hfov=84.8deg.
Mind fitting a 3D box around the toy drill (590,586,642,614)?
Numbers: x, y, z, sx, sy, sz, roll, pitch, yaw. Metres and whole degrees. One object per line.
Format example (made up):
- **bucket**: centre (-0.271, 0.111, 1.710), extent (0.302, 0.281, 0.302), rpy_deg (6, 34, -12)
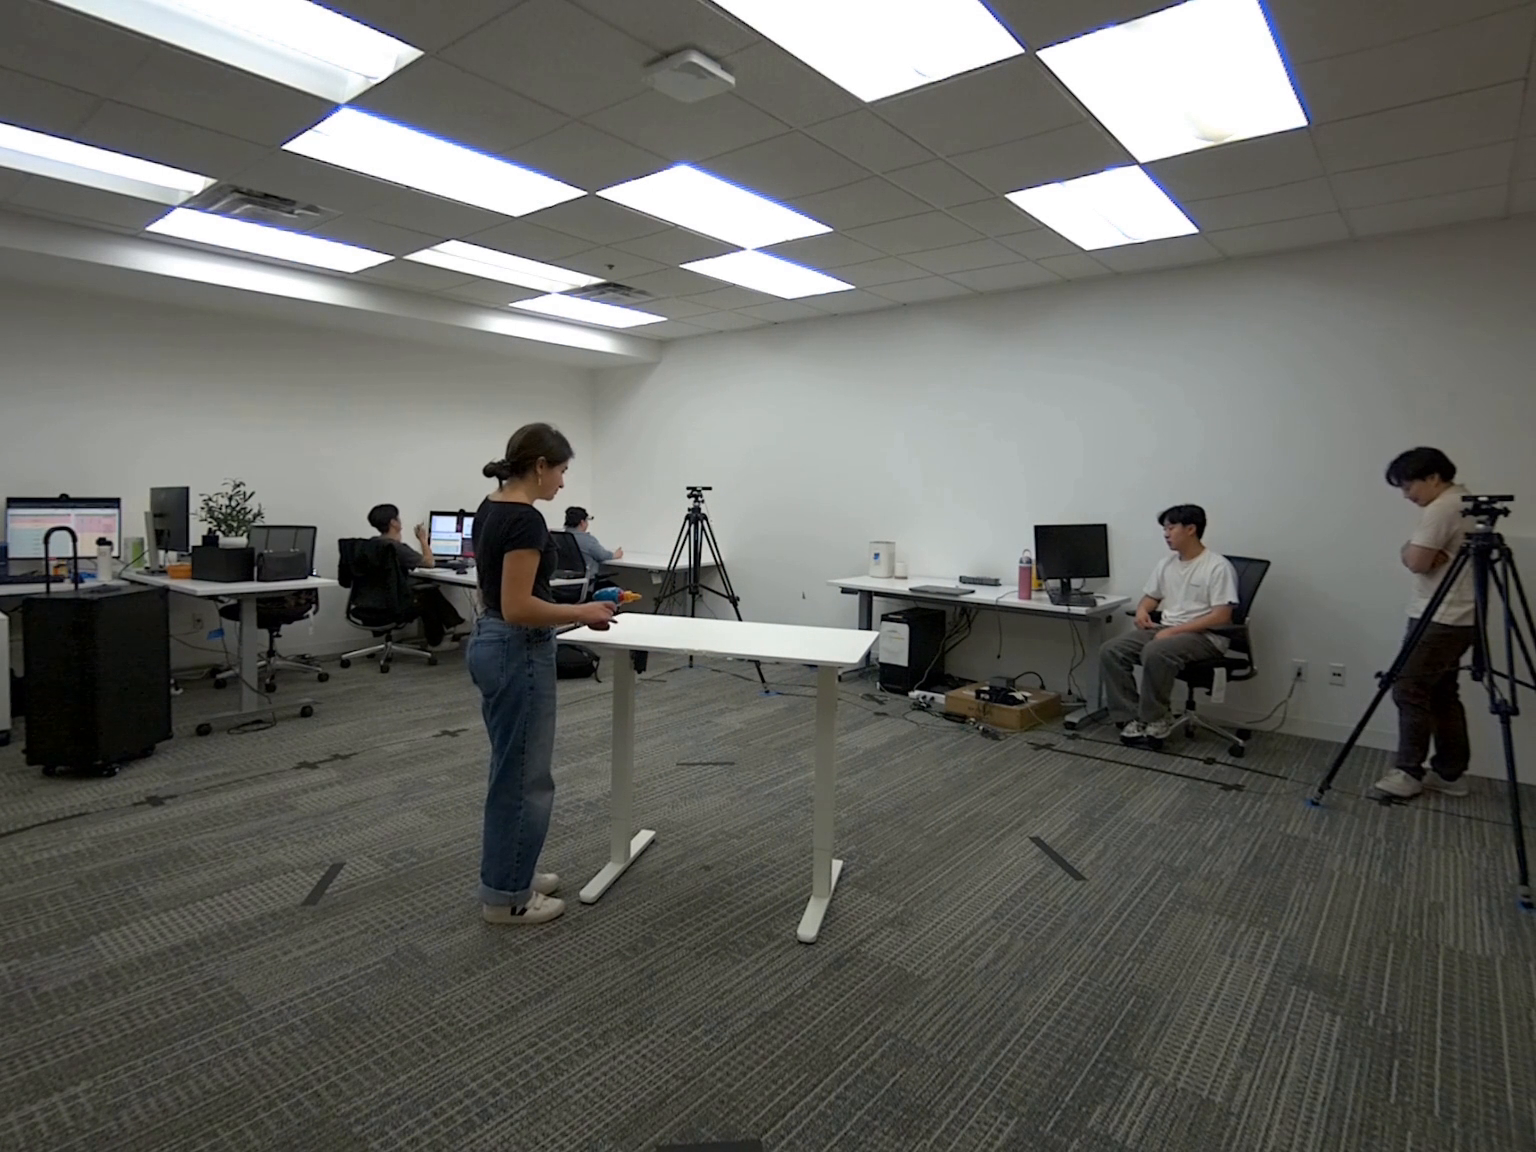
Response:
- **toy drill**: centre (-0.503, 0.109, 2.715), extent (0.170, 0.147, 0.060), rpy_deg (3, -10, 2)
